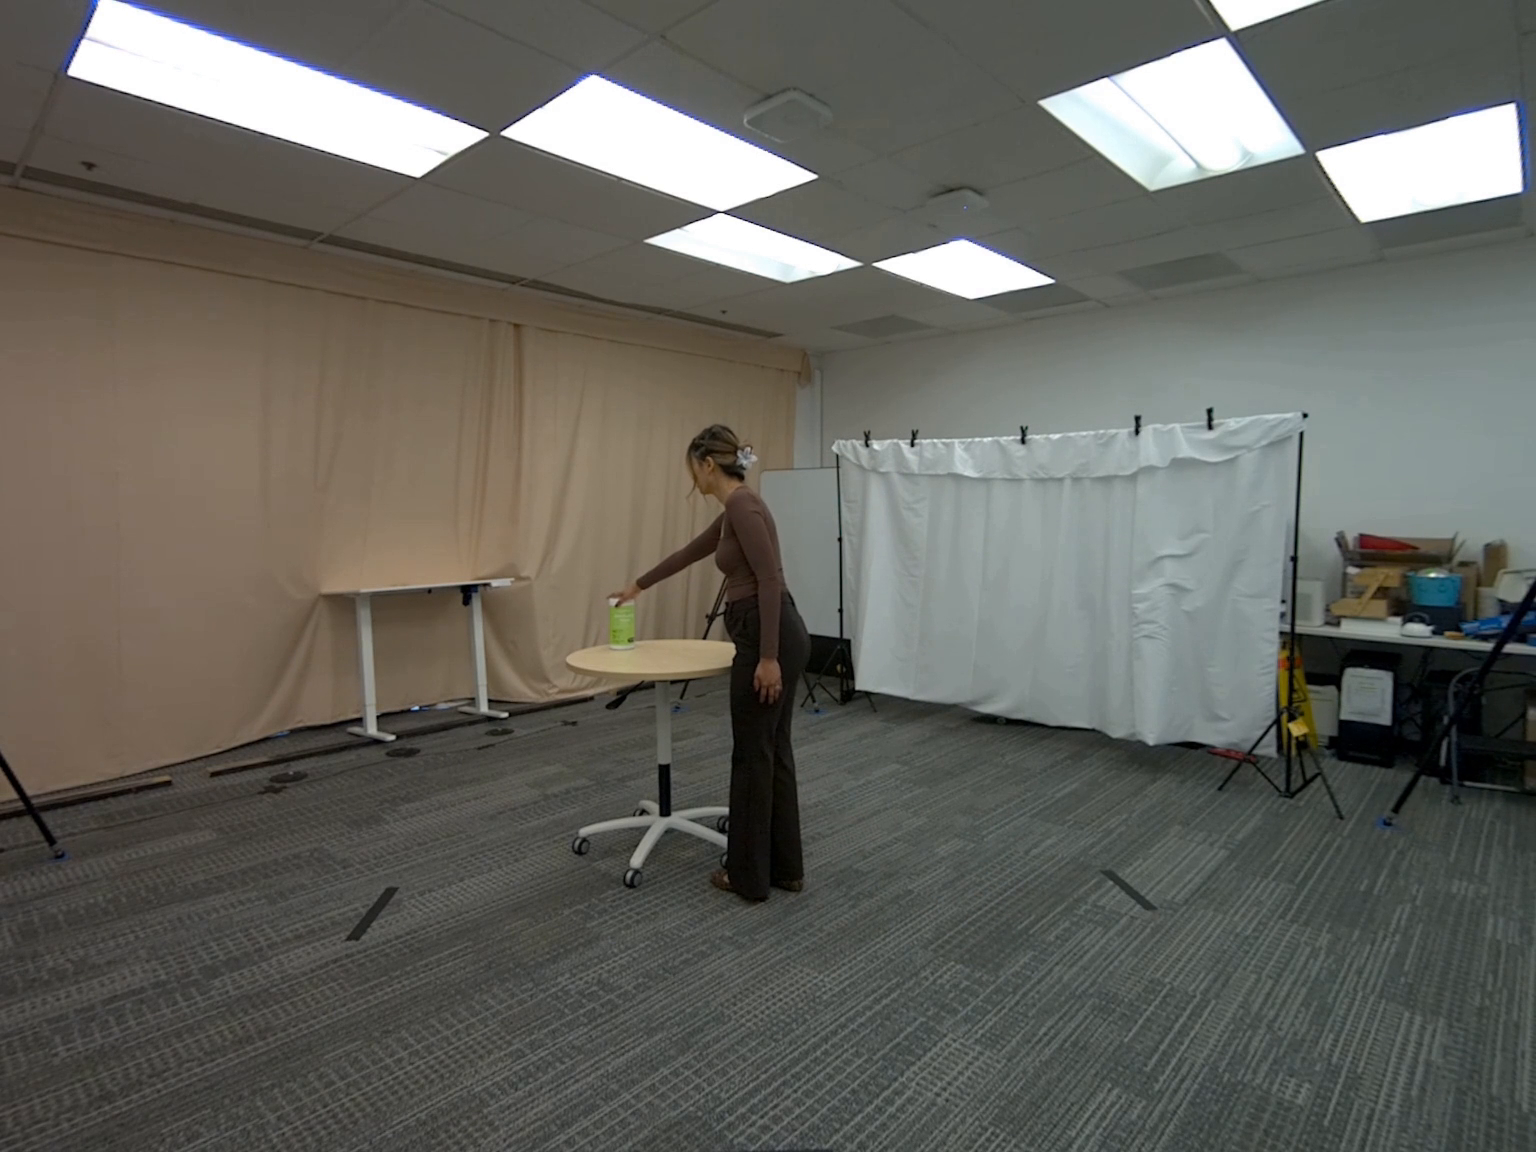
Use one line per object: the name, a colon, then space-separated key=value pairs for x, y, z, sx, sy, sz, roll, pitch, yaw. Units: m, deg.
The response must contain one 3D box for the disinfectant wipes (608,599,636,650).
disinfectant wipes: x=-0.620 y=0.200 z=3.568 sx=0.118 sy=0.217 sz=0.118 roll=0 pitch=4 yaw=-2
